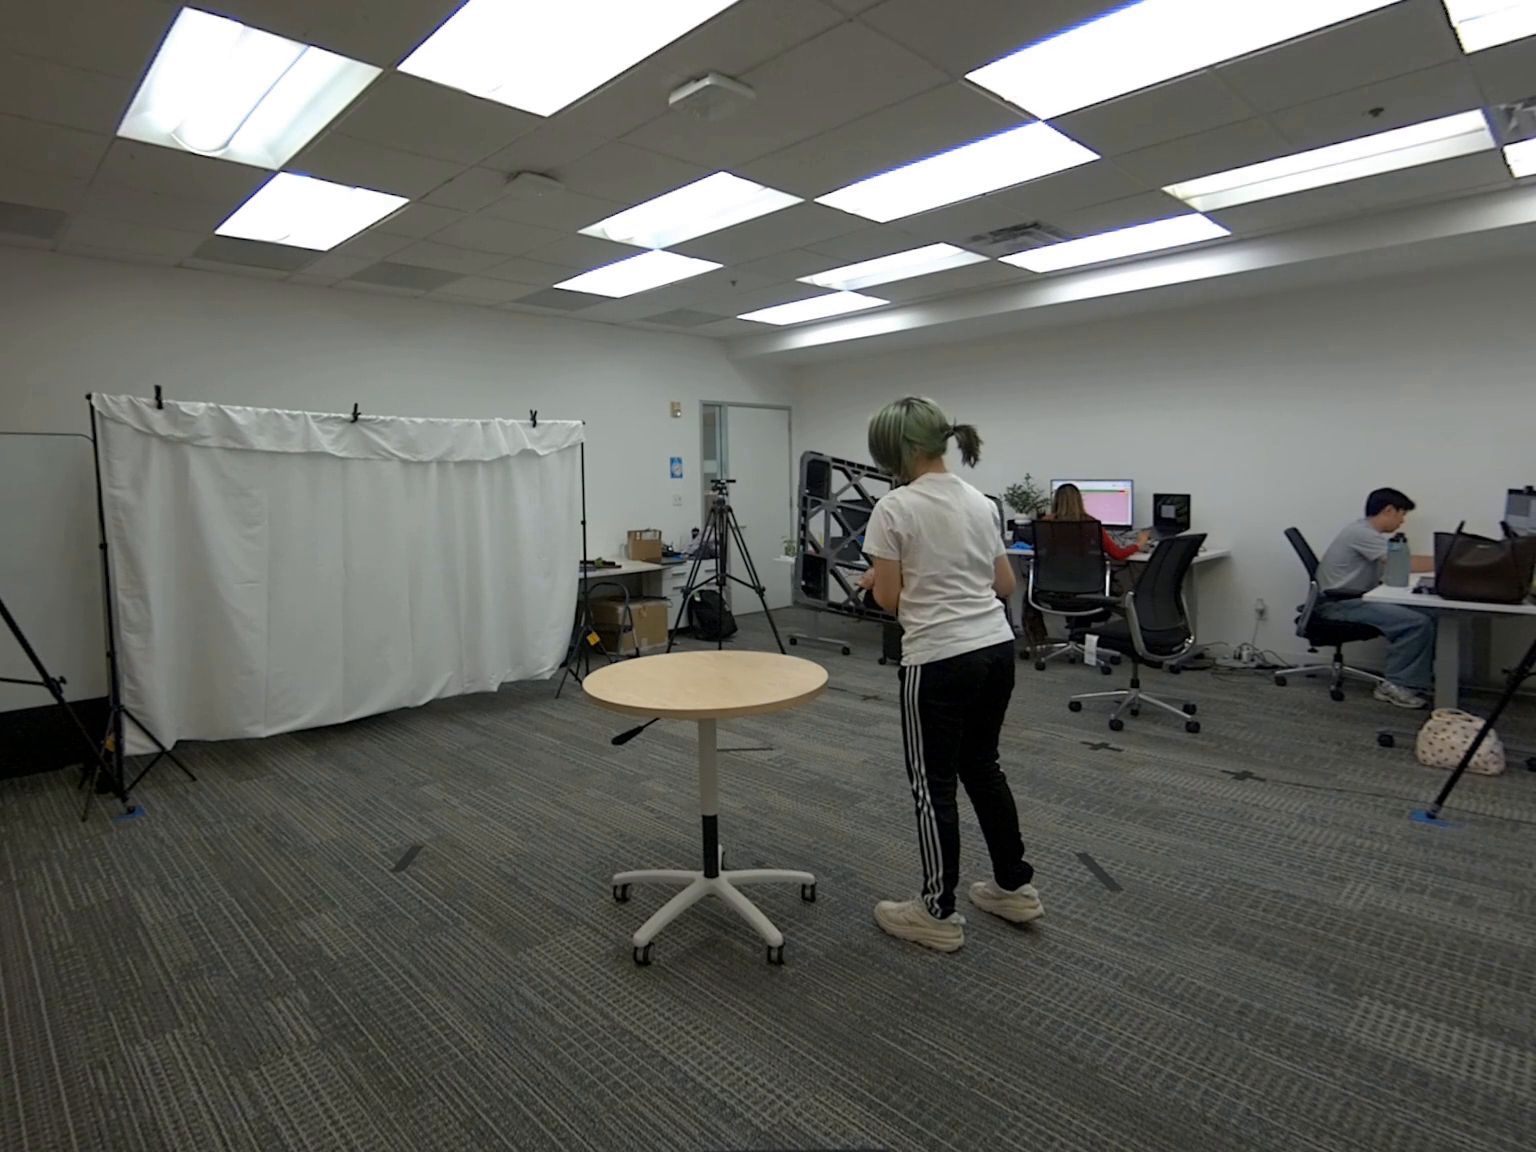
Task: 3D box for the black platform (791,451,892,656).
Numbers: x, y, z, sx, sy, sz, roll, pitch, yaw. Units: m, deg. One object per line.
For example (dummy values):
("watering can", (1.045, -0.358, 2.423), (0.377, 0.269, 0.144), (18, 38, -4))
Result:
("black platform", (0.465, -0.072, 3.022), (0.794, 0.617, 0.142), (12, -28, -13))
